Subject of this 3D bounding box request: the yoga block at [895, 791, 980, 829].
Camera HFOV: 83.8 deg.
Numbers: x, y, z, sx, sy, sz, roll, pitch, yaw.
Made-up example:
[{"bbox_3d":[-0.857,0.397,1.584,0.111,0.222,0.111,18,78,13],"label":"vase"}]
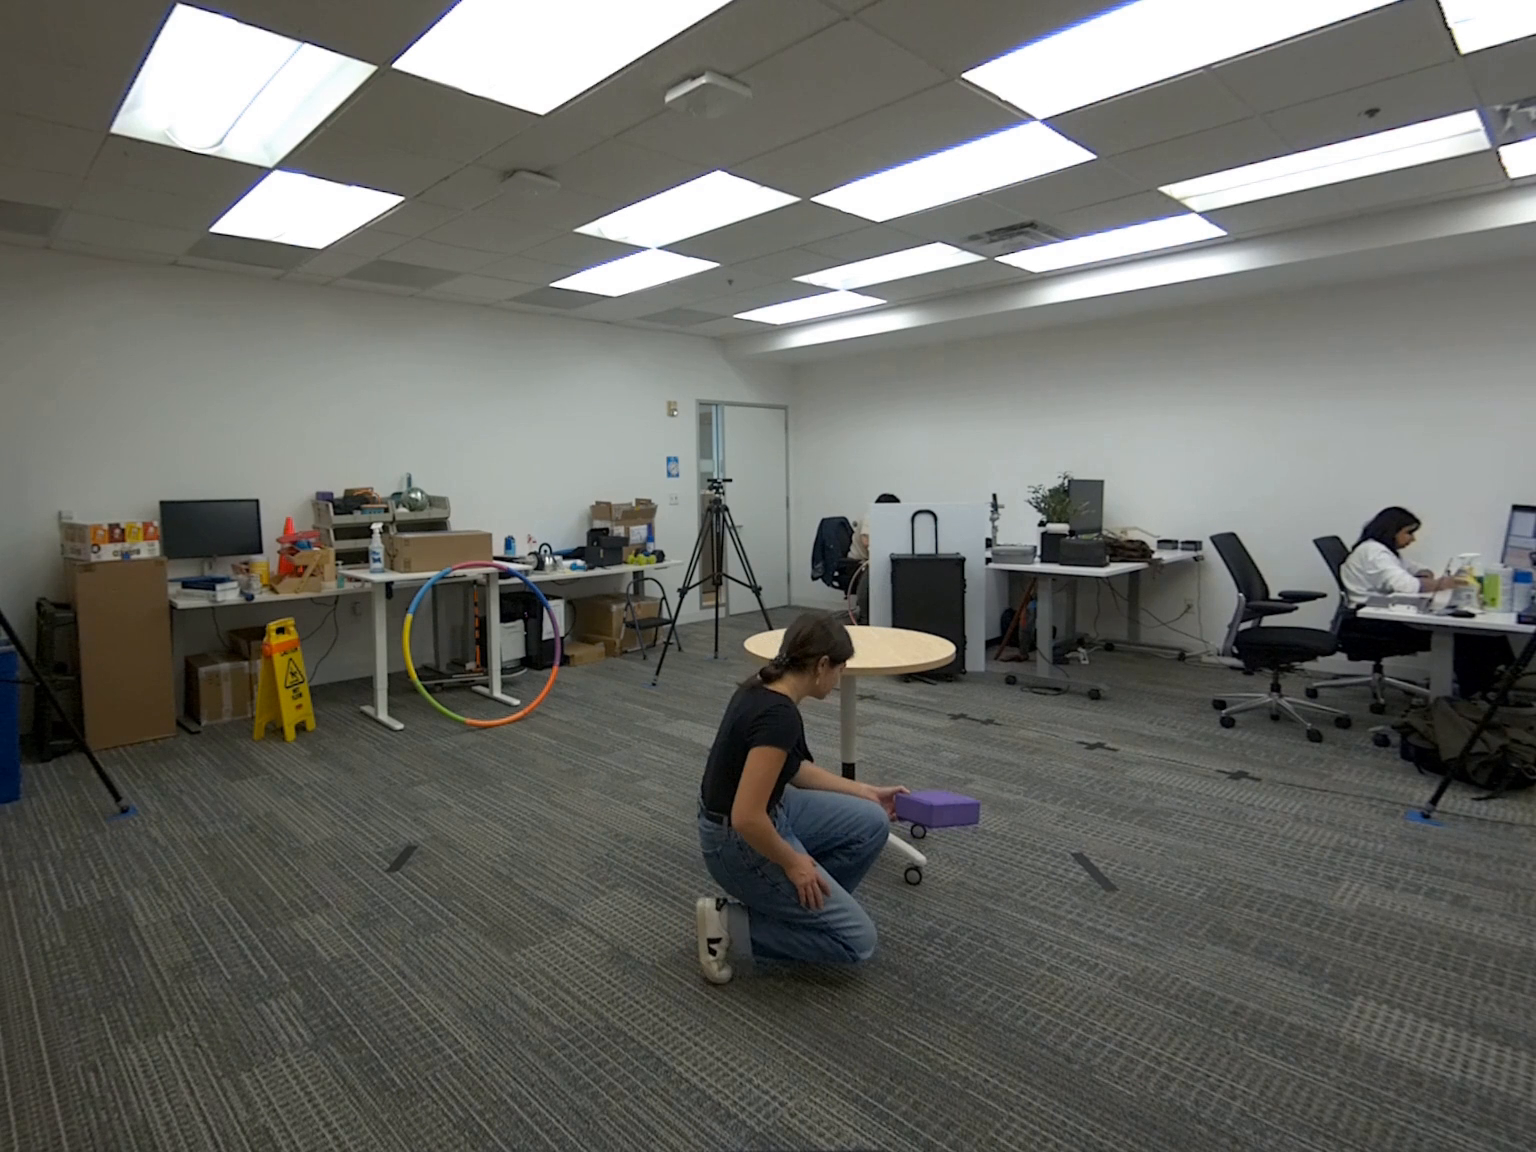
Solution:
[{"bbox_3d":[0.522,0.707,2.599,0.222,0.077,0.153,7,-4,-40],"label":"yoga block"}]
